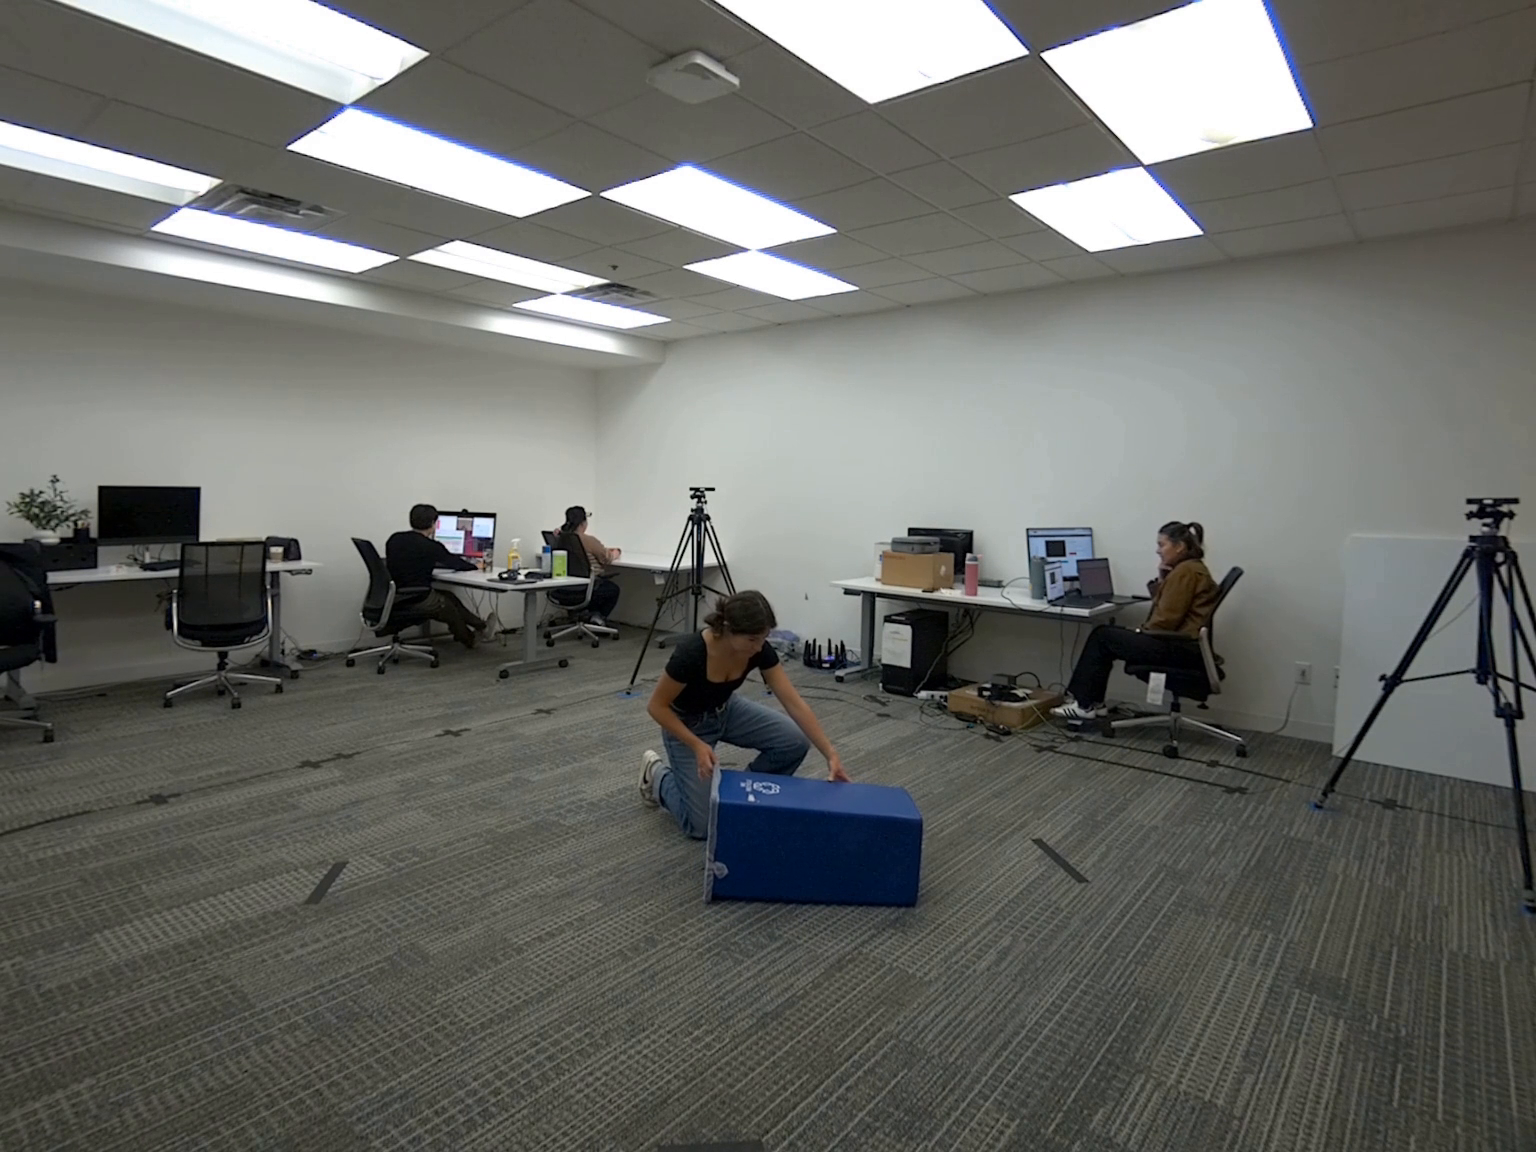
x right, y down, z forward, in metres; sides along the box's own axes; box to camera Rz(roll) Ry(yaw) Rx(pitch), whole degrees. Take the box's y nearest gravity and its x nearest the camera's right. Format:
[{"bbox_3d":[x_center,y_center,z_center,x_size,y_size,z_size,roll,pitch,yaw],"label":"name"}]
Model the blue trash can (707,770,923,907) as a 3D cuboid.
[{"bbox_3d":[0.142,0.920,2.997,0.714,0.377,0.375,4,3,0],"label":"blue trash can"}]
